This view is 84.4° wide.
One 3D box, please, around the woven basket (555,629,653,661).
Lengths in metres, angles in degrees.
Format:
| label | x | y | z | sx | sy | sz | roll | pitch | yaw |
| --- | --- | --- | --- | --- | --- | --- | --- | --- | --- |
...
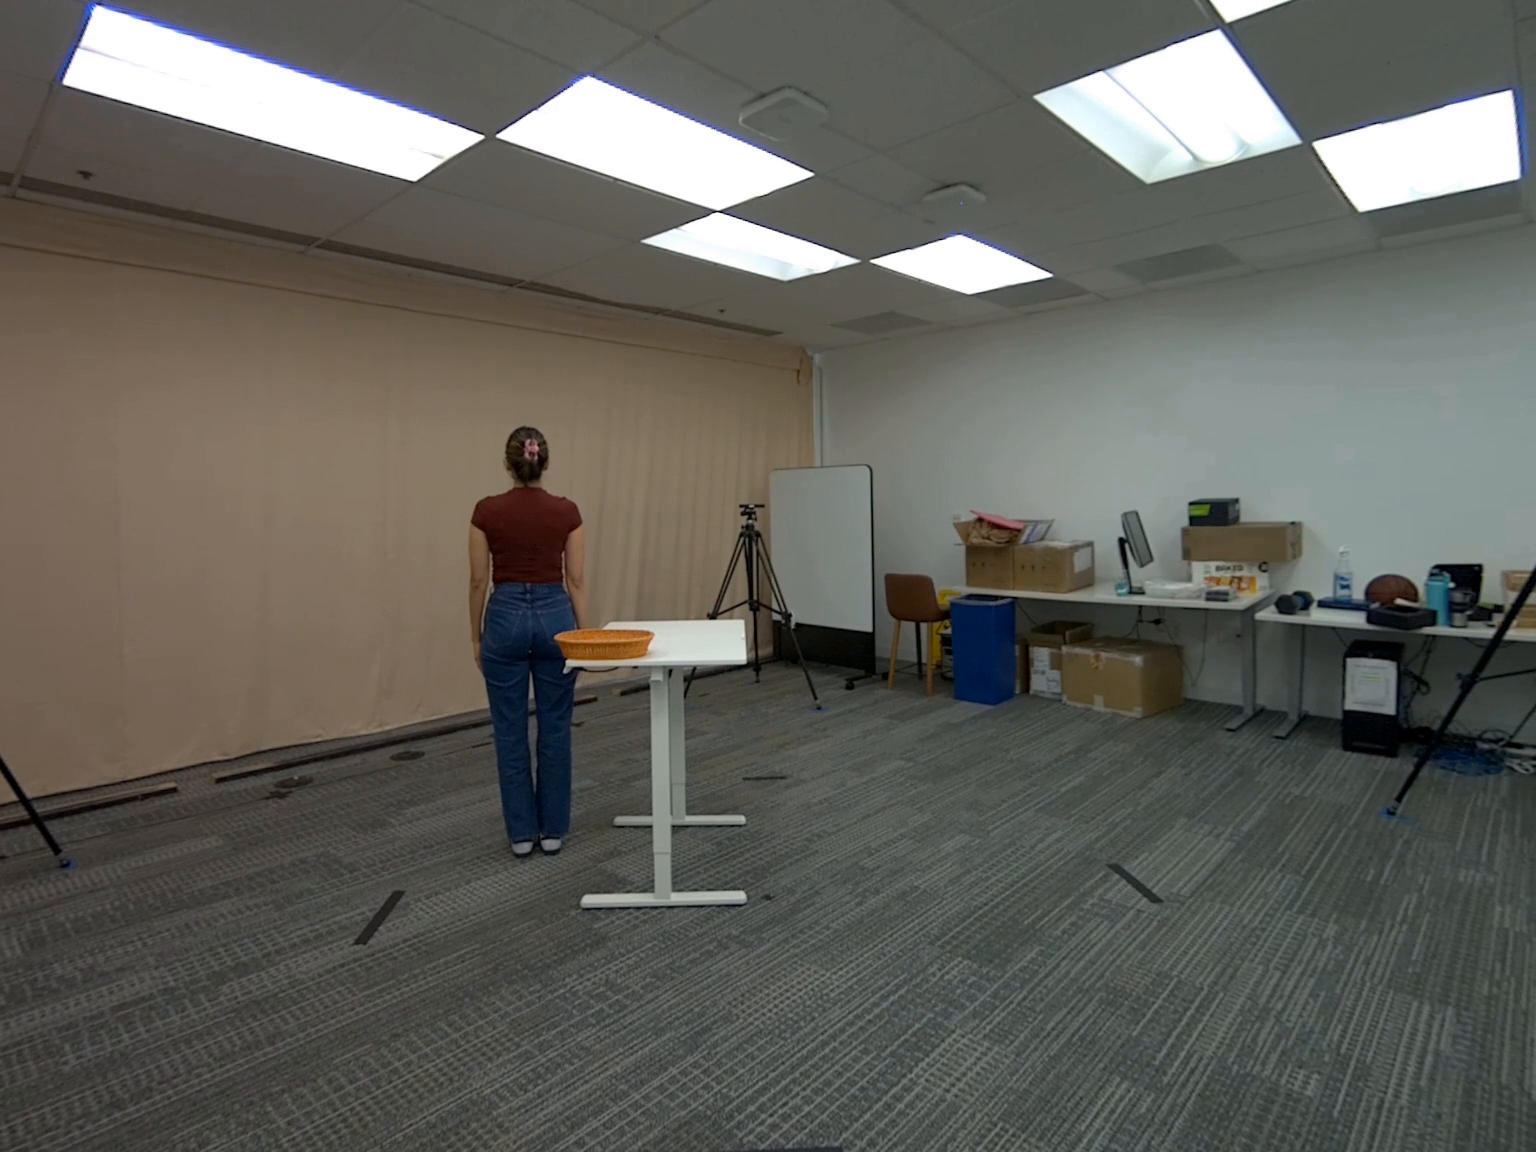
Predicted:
| label | x | y | z | sx | sy | sz | roll | pitch | yaw |
| --- | --- | --- | --- | --- | --- | --- | --- | --- | --- |
| woven basket | -0.565 | 0.242 | 2.906 | 0.355 | 0.073 | 0.250 | 0 | 6 | 11 |
